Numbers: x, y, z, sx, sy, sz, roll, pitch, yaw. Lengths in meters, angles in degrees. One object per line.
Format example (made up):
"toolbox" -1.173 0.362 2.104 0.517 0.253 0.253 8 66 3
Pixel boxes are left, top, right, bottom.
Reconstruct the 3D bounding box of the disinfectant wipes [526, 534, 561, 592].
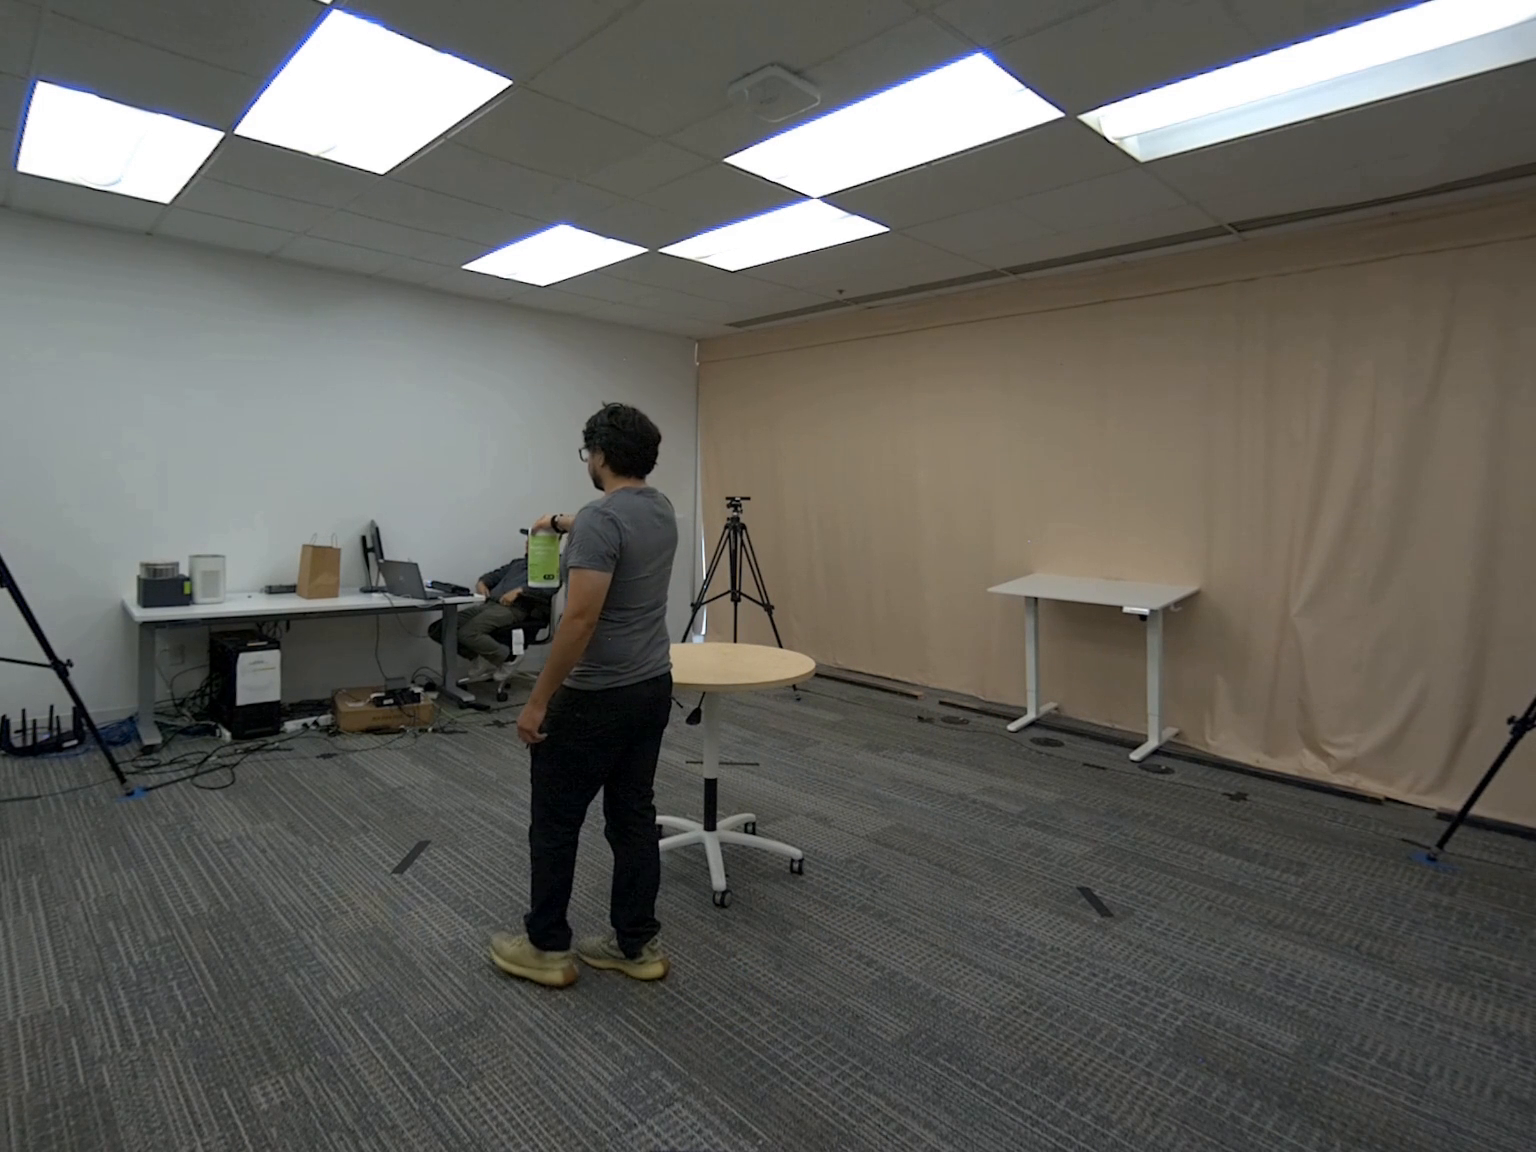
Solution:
"disinfectant wipes" -0.813 -0.066 3.021 0.118 0.217 0.118 0 3 -1
